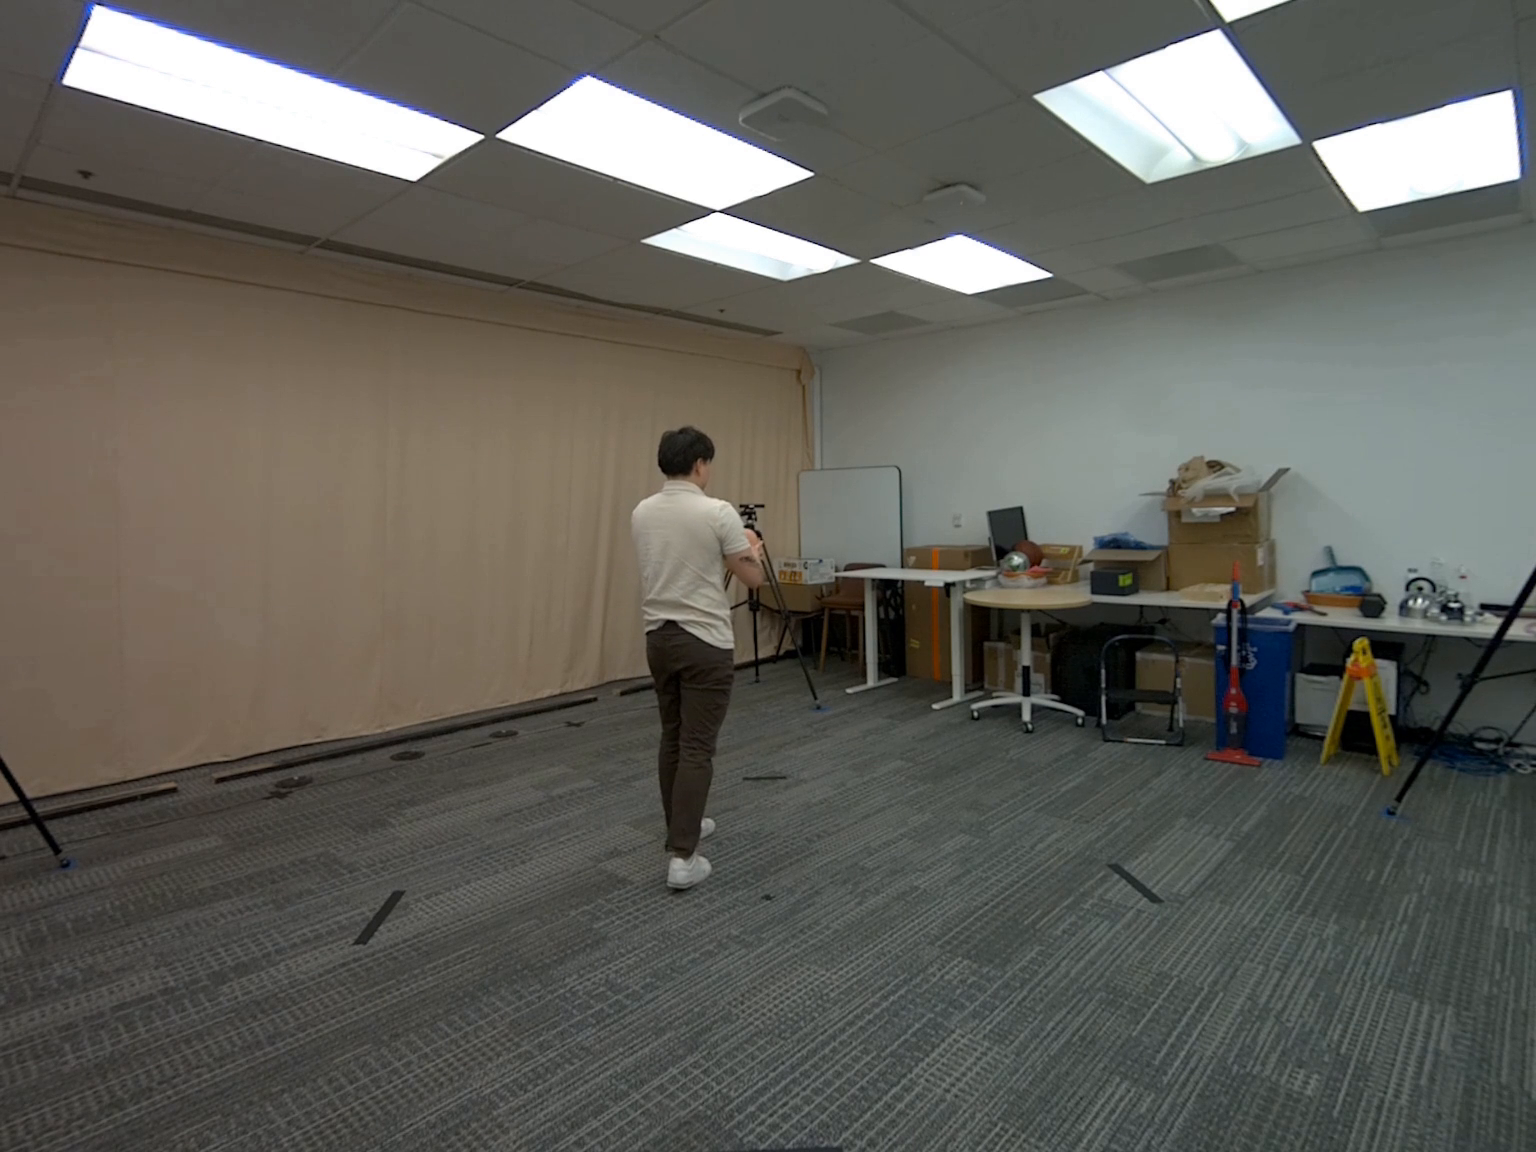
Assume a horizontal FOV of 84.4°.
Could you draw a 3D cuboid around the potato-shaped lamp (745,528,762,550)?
[{"bbox_3d":[-0.127,-0.102,3.549,0.170,0.198,0.167,-3,2,-11],"label":"potato-shaped lamp"}]
